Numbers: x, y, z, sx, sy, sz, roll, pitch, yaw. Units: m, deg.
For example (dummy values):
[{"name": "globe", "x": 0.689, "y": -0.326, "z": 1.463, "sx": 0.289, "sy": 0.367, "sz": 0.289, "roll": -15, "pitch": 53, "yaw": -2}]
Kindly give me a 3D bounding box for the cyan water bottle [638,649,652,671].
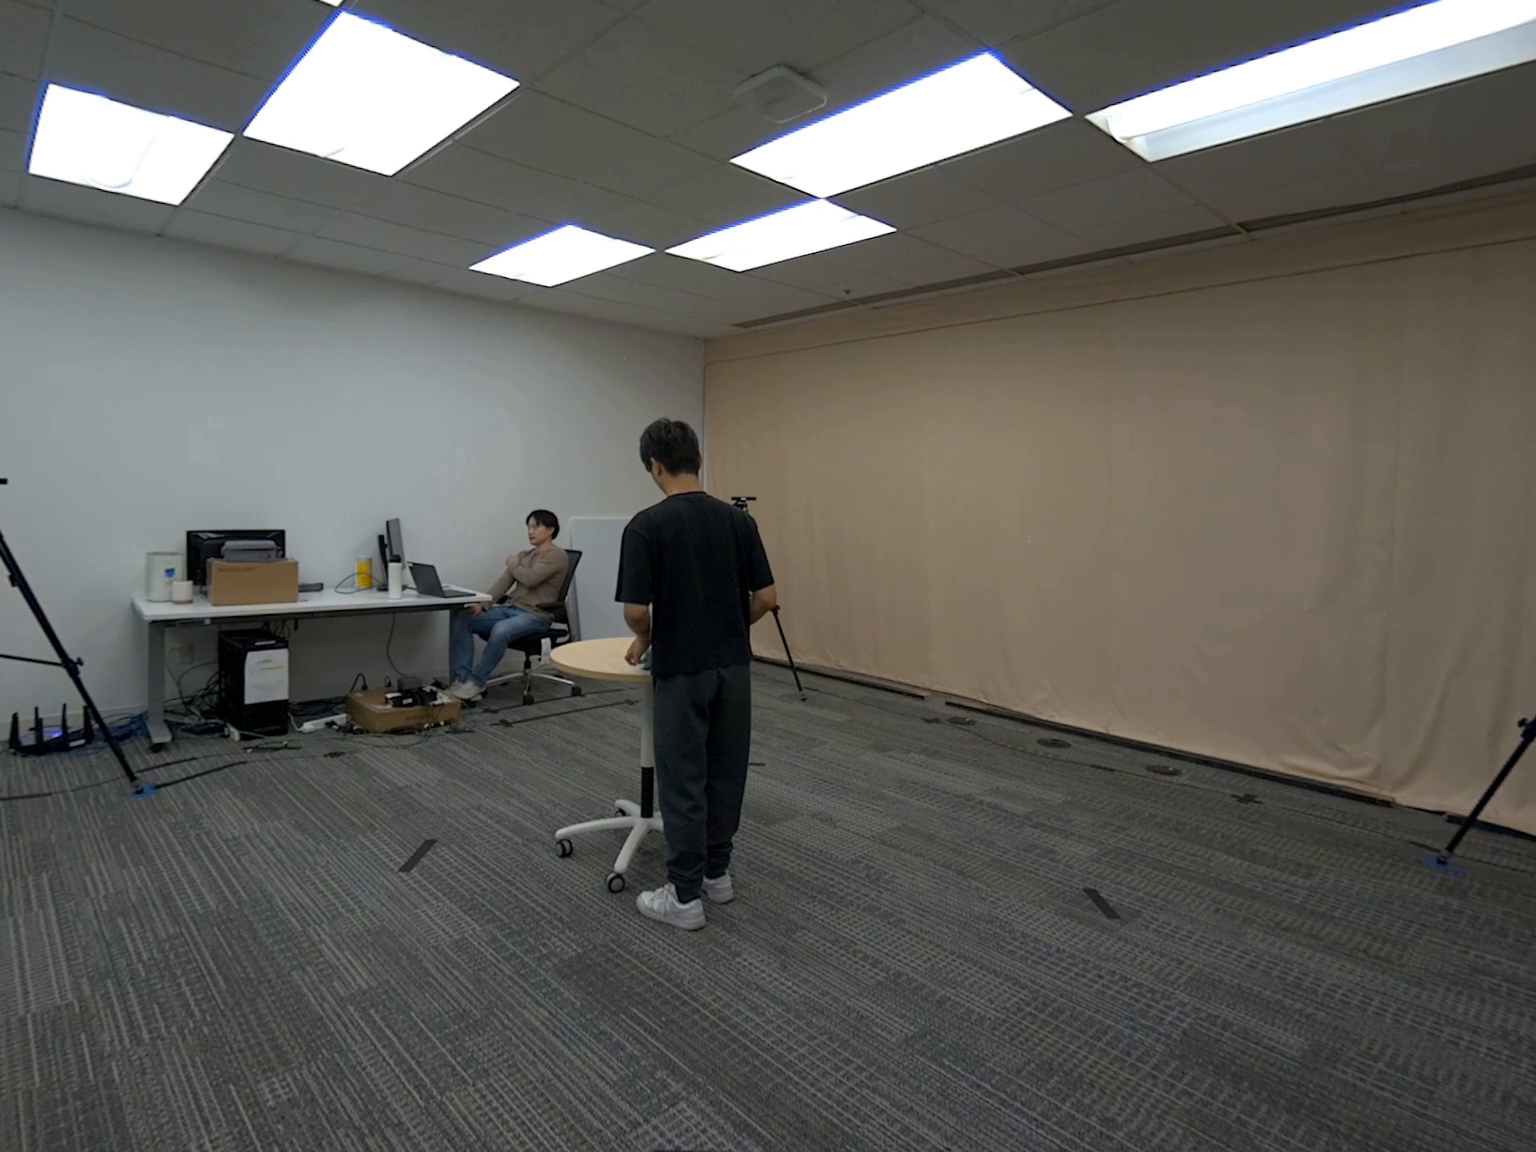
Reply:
[{"name": "cyan water bottle", "x": -0.332, "y": 0.282, "z": 3.046, "sx": 0.278, "sy": 0.092, "sz": 0.094, "roll": -4, "pitch": 6, "yaw": -29}]
